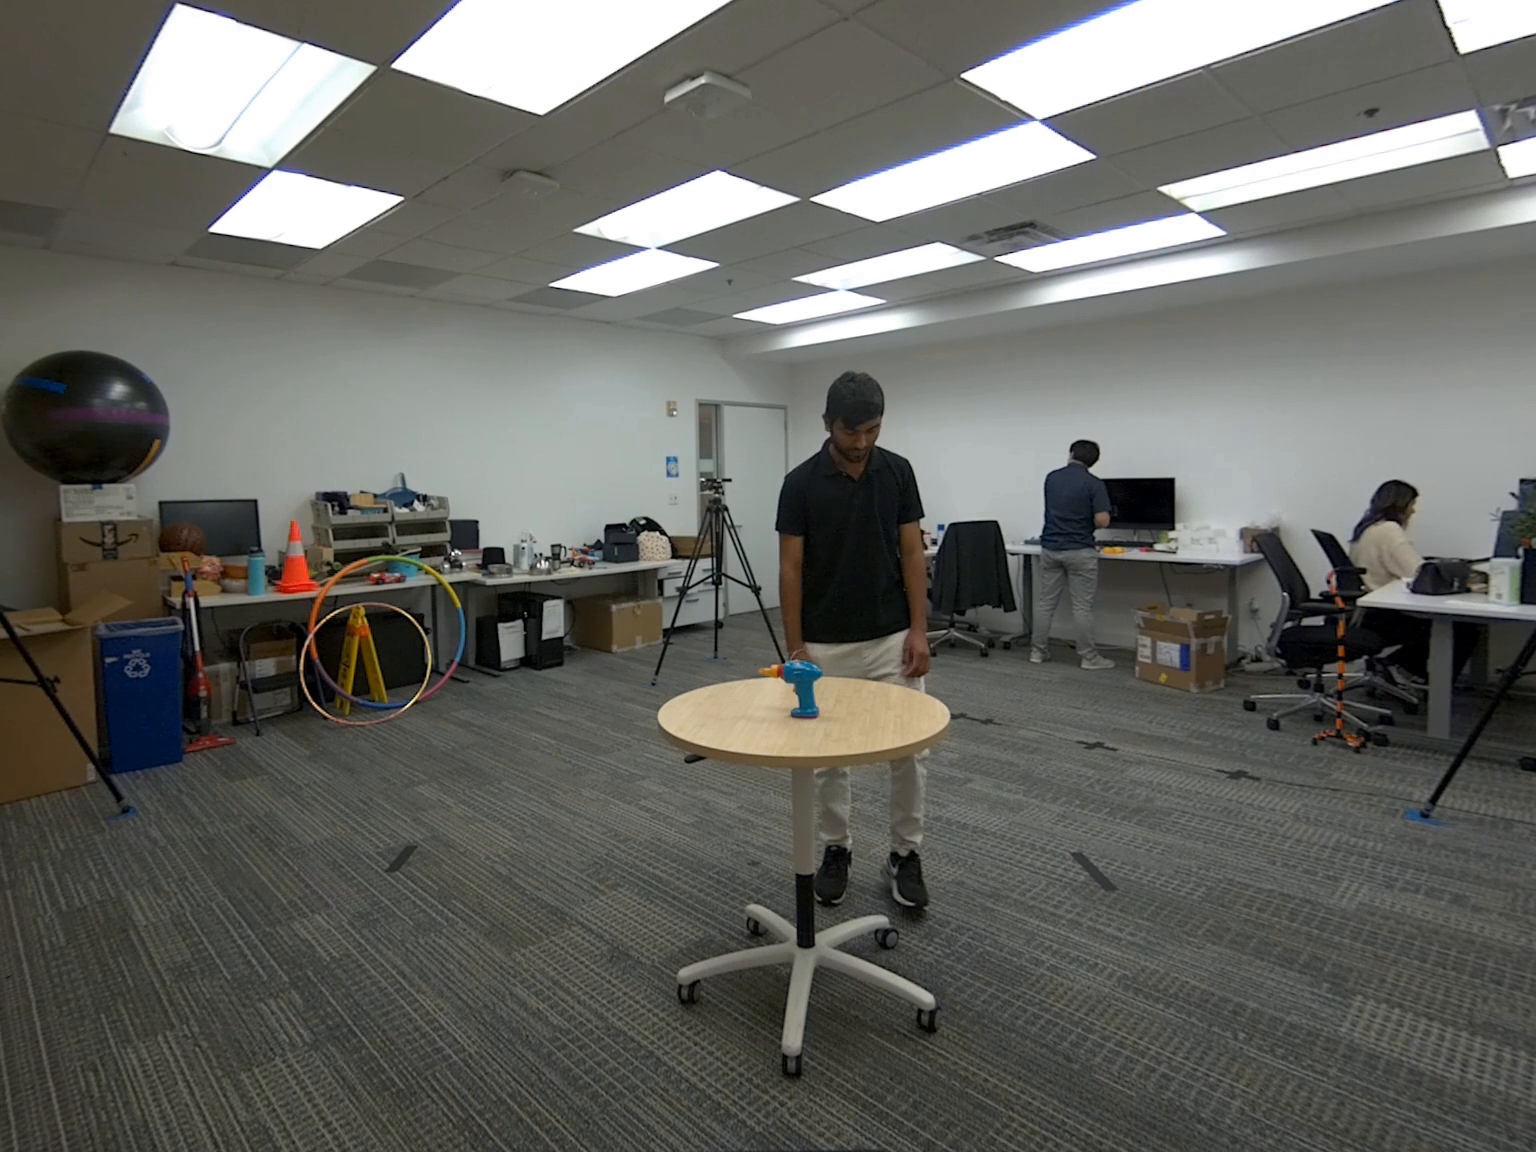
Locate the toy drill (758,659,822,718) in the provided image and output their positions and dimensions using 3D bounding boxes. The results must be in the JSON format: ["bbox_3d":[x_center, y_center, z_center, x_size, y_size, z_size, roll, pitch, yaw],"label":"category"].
[{"bbox_3d":[0.065,0.293,2.205,0.172,0.145,0.060,-1,6,14],"label":"toy drill"}]
